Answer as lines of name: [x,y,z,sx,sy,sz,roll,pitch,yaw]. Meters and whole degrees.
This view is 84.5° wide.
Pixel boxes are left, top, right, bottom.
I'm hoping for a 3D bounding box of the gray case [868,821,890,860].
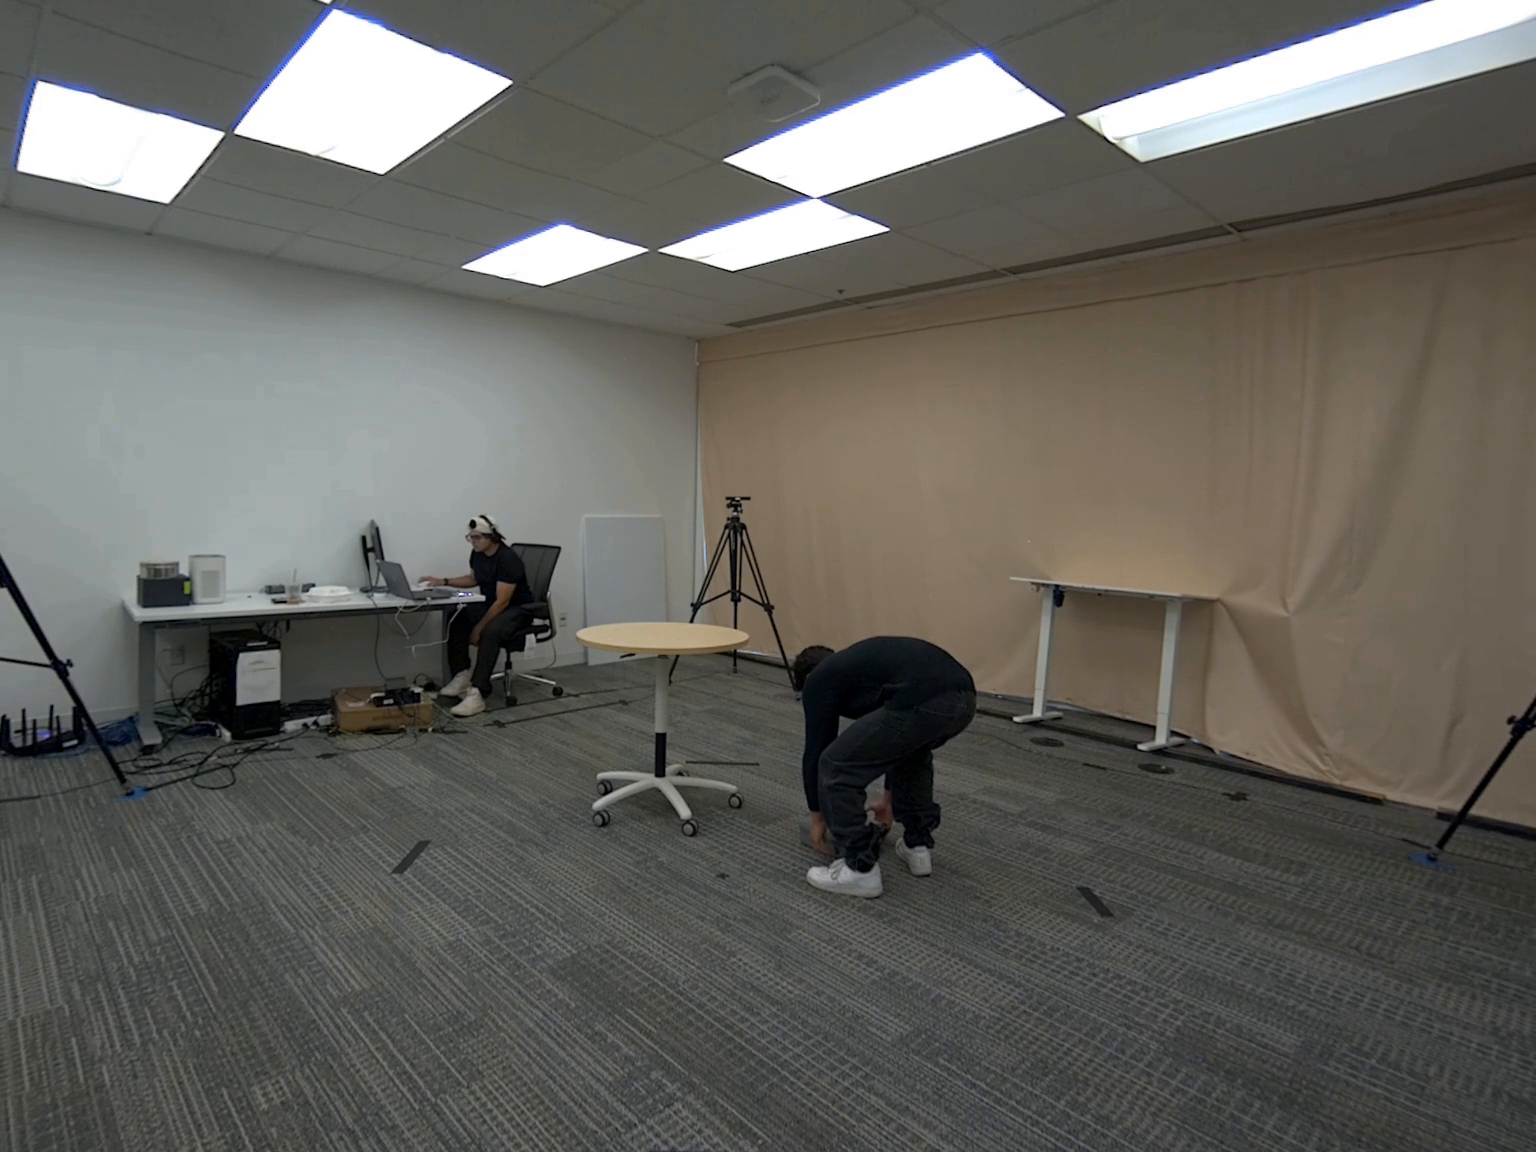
gray case: [0.298,1.030,3.406,0.267,0.104,0.251,7,5,44]
